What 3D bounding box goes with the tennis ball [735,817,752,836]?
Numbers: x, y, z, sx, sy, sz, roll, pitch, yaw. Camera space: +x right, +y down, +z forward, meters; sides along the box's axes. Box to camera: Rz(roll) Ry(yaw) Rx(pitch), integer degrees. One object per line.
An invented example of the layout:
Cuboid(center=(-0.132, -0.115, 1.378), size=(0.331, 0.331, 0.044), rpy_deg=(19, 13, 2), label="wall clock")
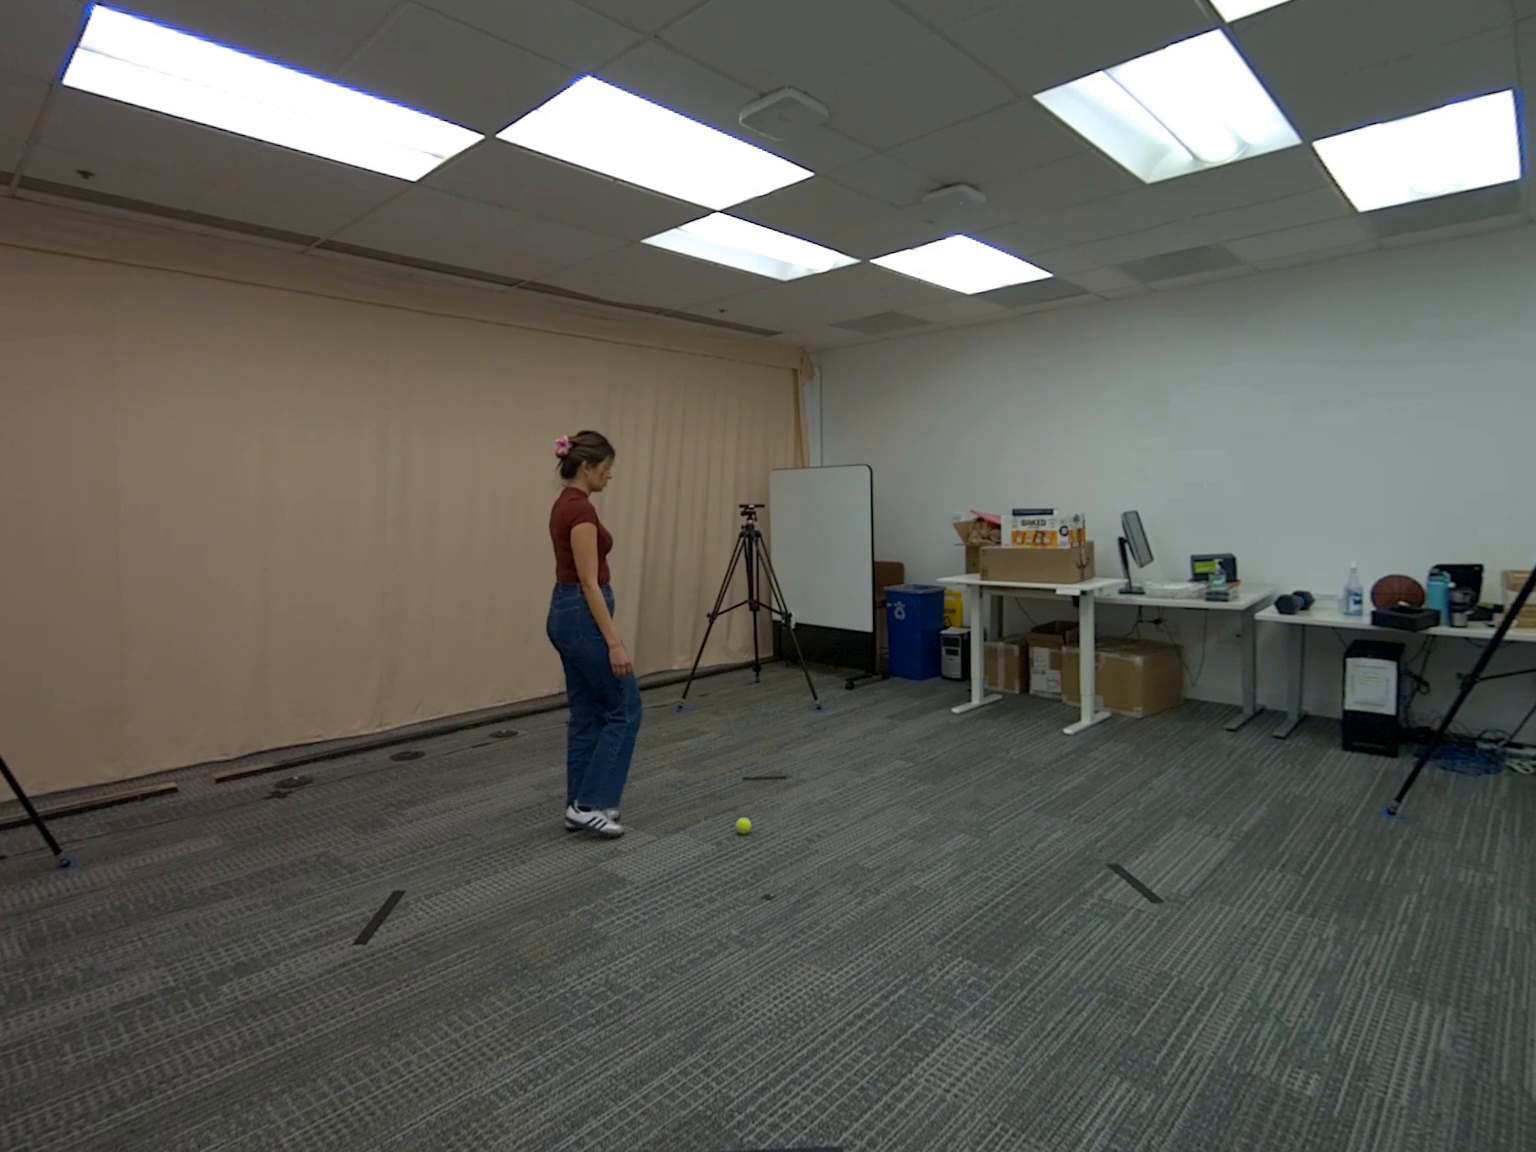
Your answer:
Cuboid(center=(-0.107, 1.050, 3.553), size=(0.066, 0.066, 0.067), rpy_deg=(-1, 4, -2), label="tennis ball")
